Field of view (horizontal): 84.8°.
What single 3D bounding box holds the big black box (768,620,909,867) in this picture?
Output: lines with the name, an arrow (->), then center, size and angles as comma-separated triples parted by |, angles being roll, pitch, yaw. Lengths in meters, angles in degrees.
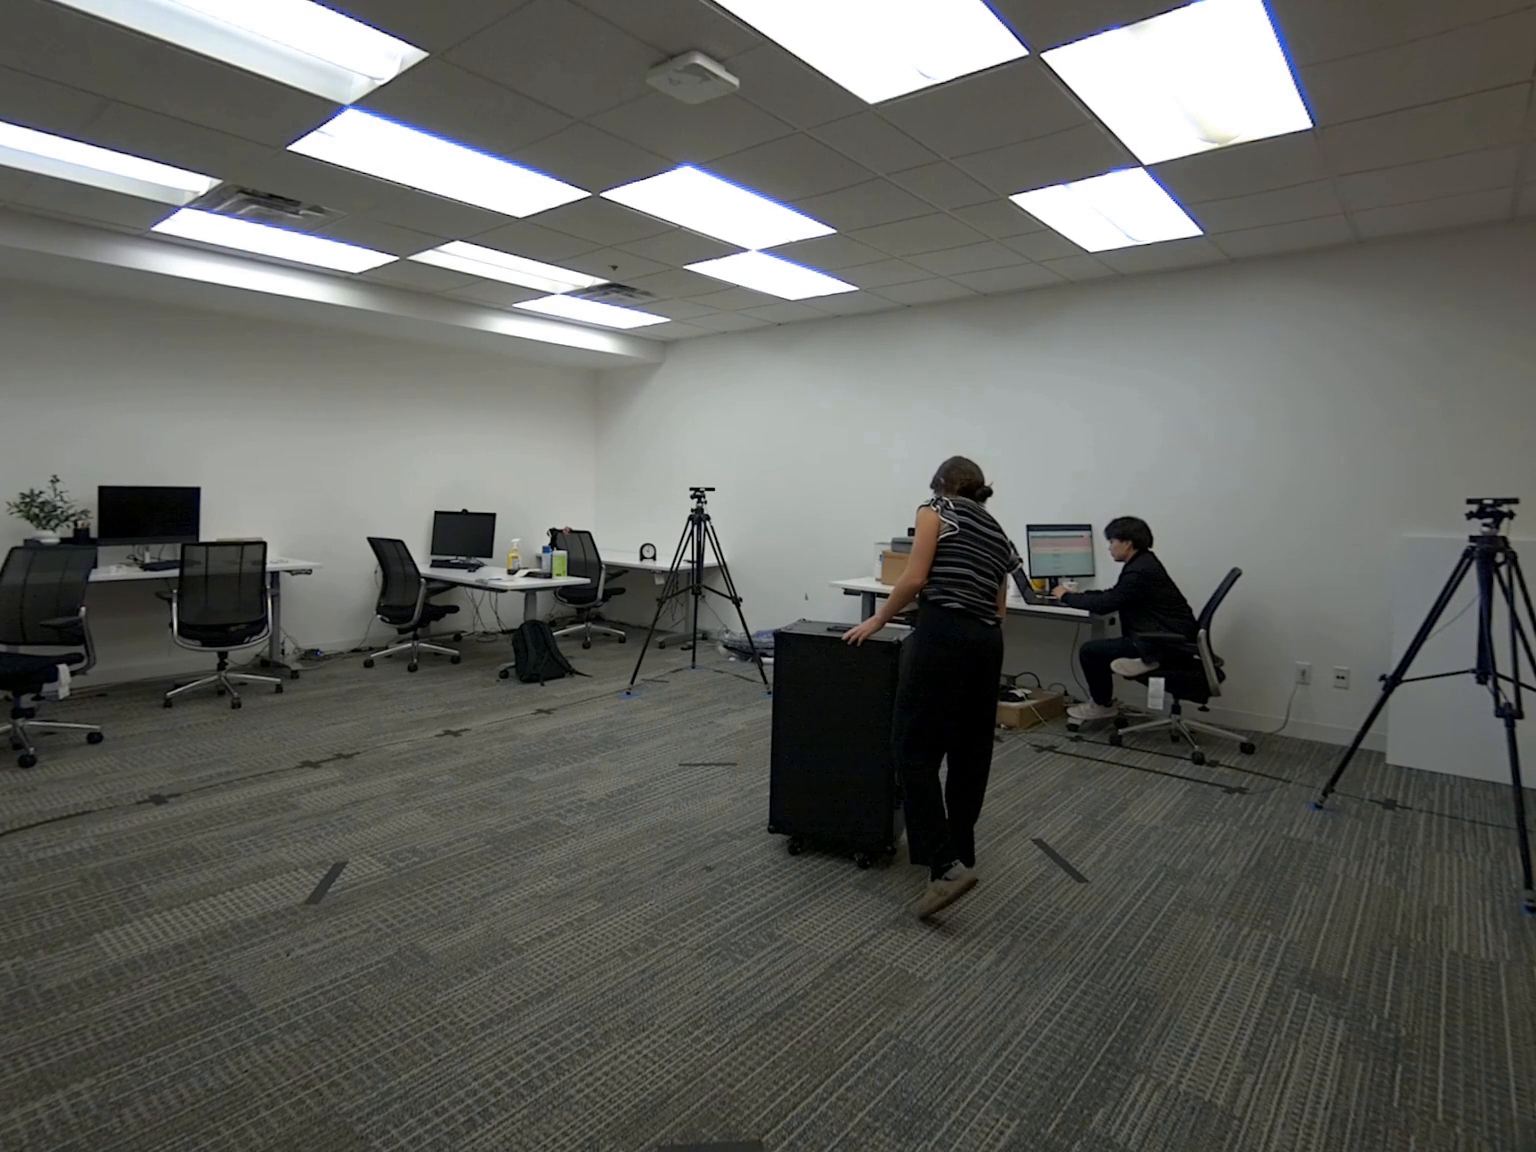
big black box -> 0.278, 0.632, 3.346 | 0.534, 0.860, 0.387 | 3, 2, 22
